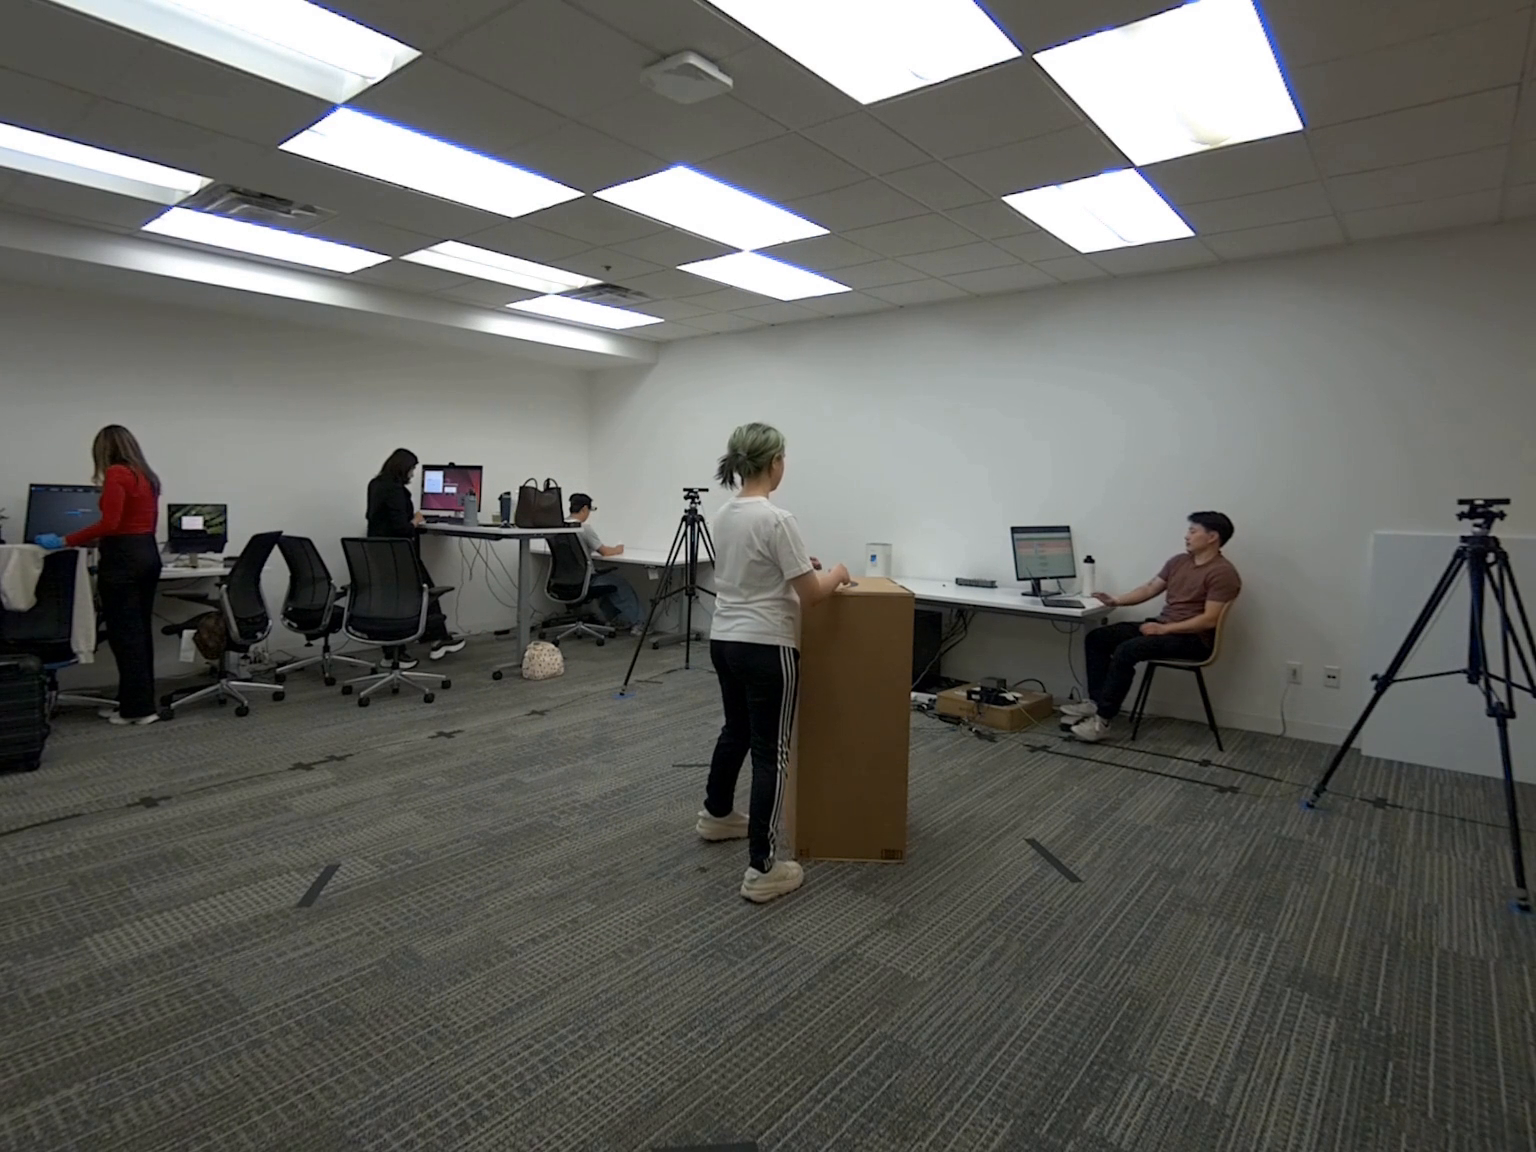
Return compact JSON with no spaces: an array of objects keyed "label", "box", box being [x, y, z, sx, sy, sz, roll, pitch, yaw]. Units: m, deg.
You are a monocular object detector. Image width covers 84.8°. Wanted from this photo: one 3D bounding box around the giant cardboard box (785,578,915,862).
[{"label":"giant cardboard box","box":[0.301,0.538,3.458,0.447,1.023,0.587,2,4,-2]}]
